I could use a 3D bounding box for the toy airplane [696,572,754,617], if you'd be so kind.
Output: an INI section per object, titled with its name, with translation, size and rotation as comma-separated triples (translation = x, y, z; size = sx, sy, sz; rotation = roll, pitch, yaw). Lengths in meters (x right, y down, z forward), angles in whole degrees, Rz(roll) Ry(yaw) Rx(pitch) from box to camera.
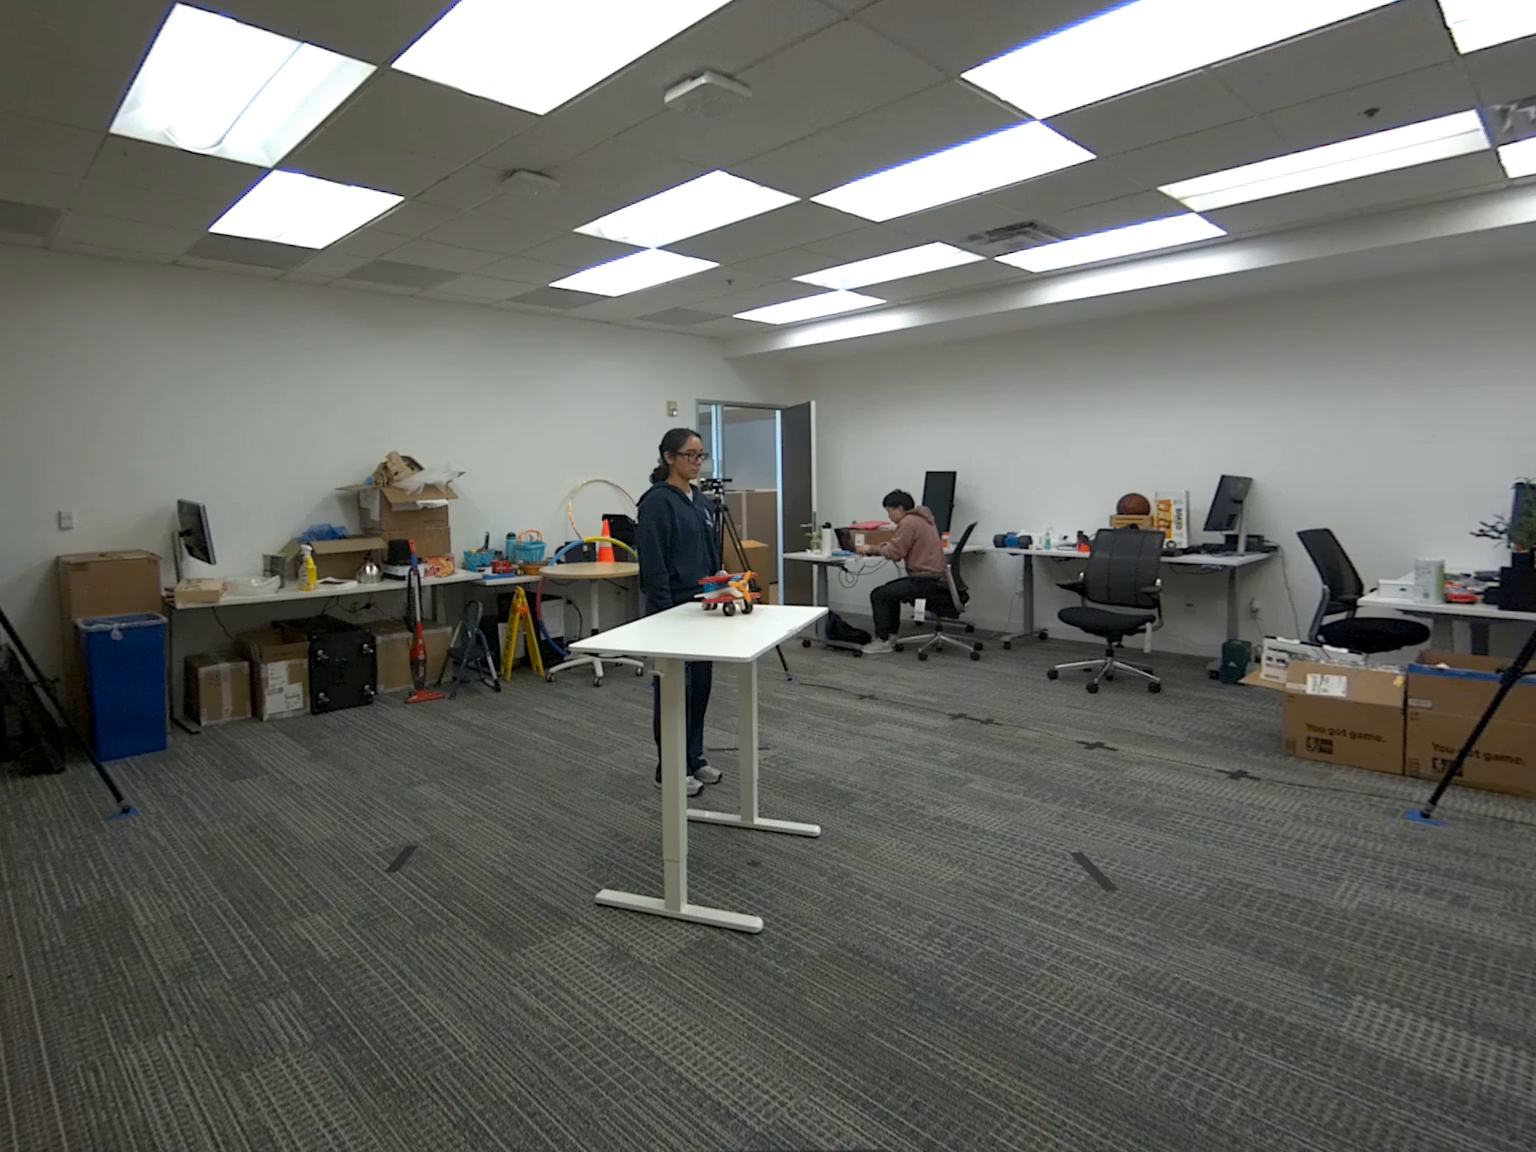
[toy airplane]
translation = -0.176, 0.071, 3.289
size = 0.265, 0.156, 0.247
rotation = 2, 7, 23
